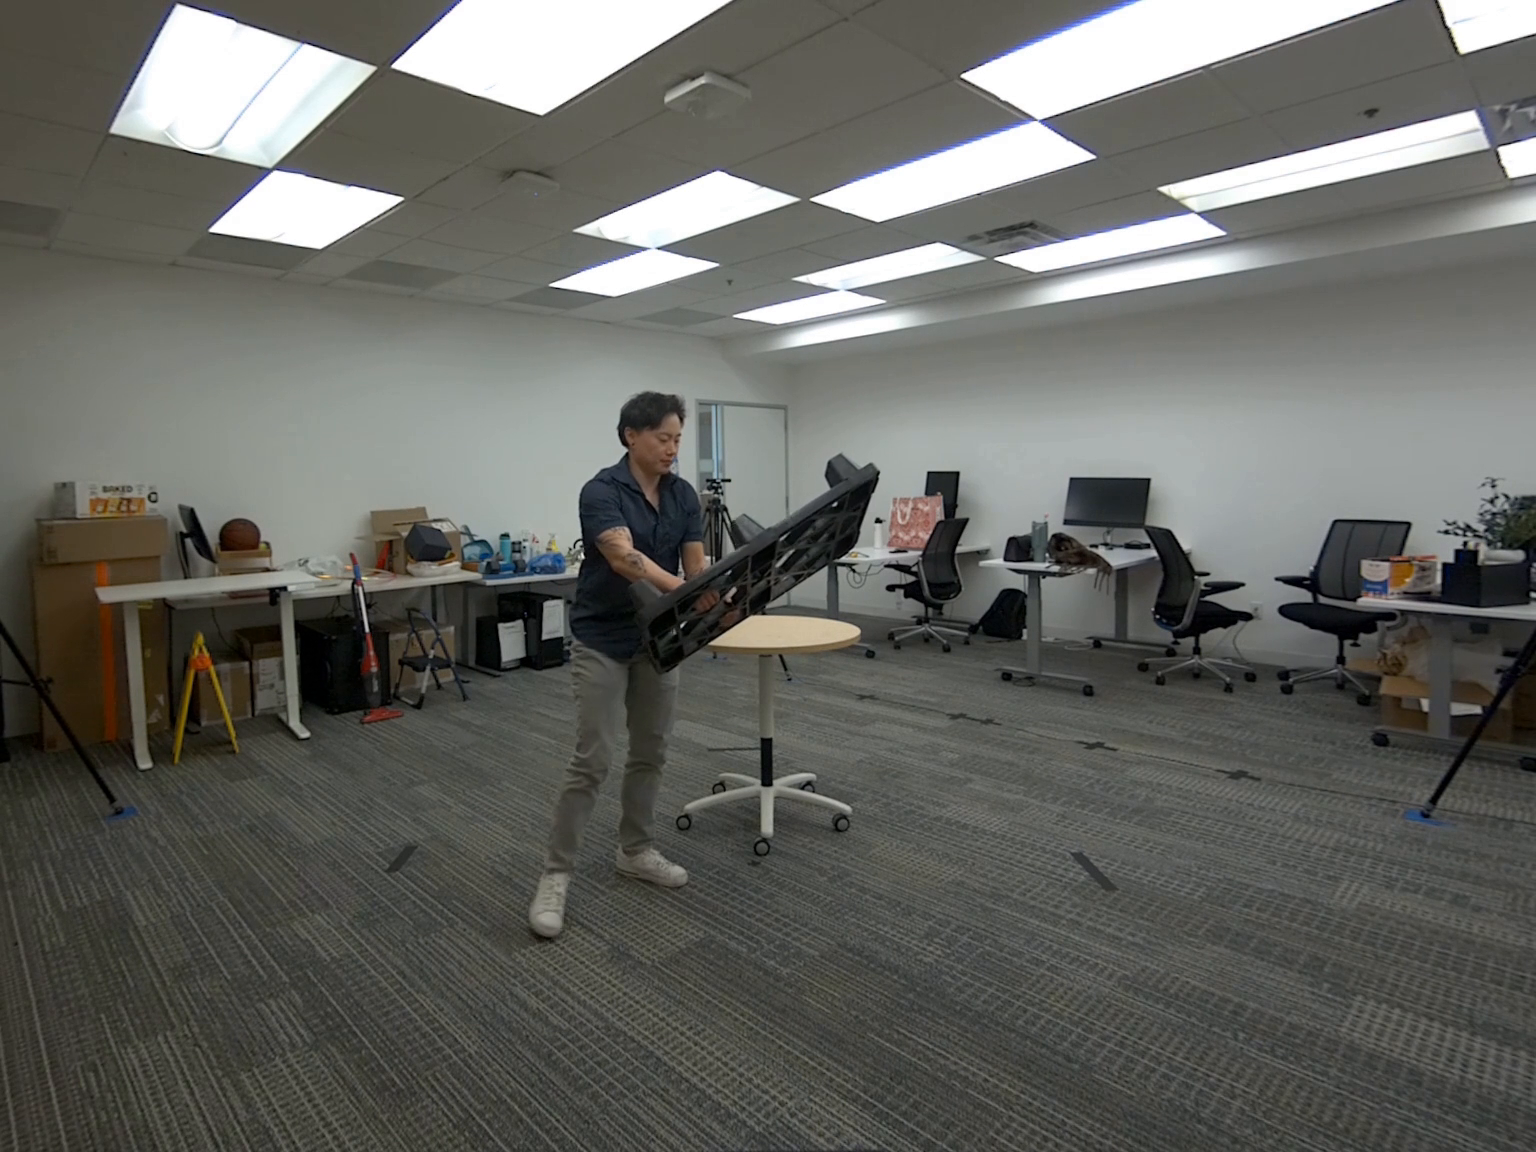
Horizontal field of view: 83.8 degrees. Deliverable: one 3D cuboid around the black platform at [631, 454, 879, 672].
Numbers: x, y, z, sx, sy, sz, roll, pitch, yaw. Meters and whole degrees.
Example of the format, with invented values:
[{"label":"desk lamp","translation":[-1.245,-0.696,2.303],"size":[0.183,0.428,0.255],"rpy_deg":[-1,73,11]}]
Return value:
[{"label":"black platform","translation":[-0.051,-0.032,2.592],"size":[0.802,0.147,0.593],"rpy_deg":[-33,-17,-13]}]
